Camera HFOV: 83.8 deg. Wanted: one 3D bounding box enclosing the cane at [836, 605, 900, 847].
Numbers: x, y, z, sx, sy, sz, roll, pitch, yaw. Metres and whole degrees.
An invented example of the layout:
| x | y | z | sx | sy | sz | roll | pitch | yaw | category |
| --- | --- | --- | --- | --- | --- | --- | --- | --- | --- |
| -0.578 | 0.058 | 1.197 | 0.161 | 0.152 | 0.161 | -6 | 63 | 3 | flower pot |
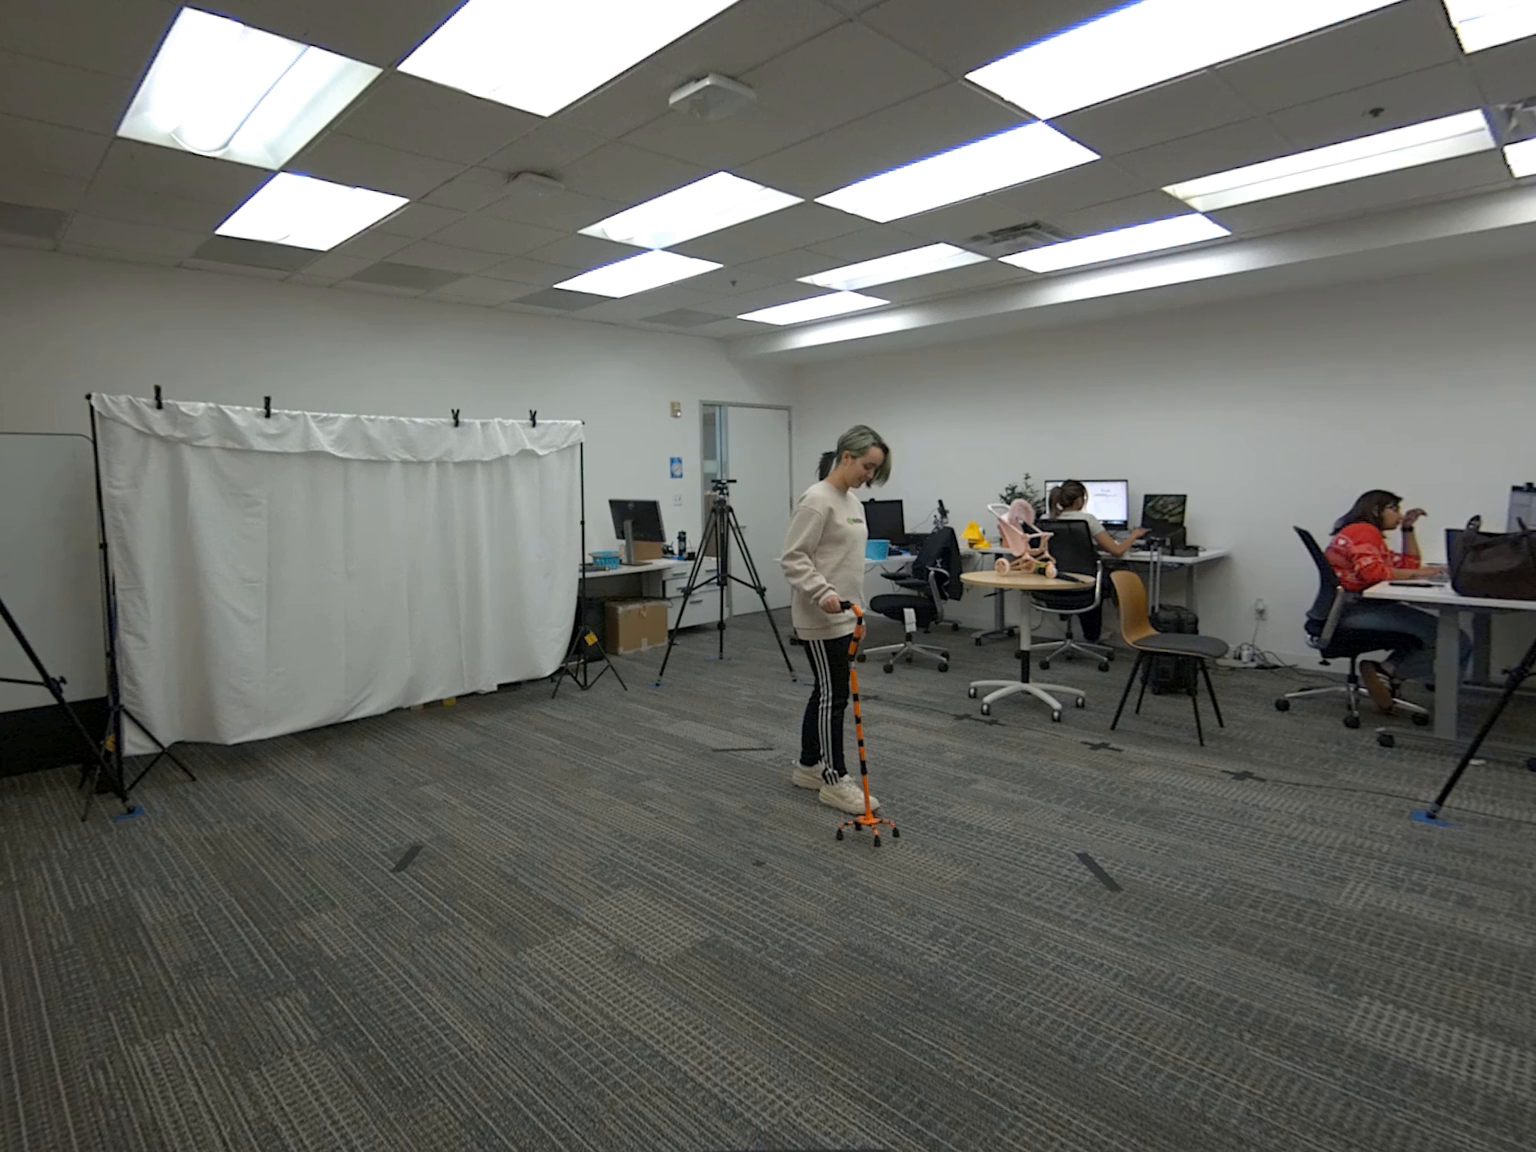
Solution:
| x | y | z | sx | sy | sz | roll | pitch | yaw | category |
| --- | --- | --- | --- | --- | --- | --- | --- | --- | --- |
| 0.343 | 0.556 | 3.312 | 0.212 | 0.909 | 0.147 | -6 | -2 | 44 | cane |
